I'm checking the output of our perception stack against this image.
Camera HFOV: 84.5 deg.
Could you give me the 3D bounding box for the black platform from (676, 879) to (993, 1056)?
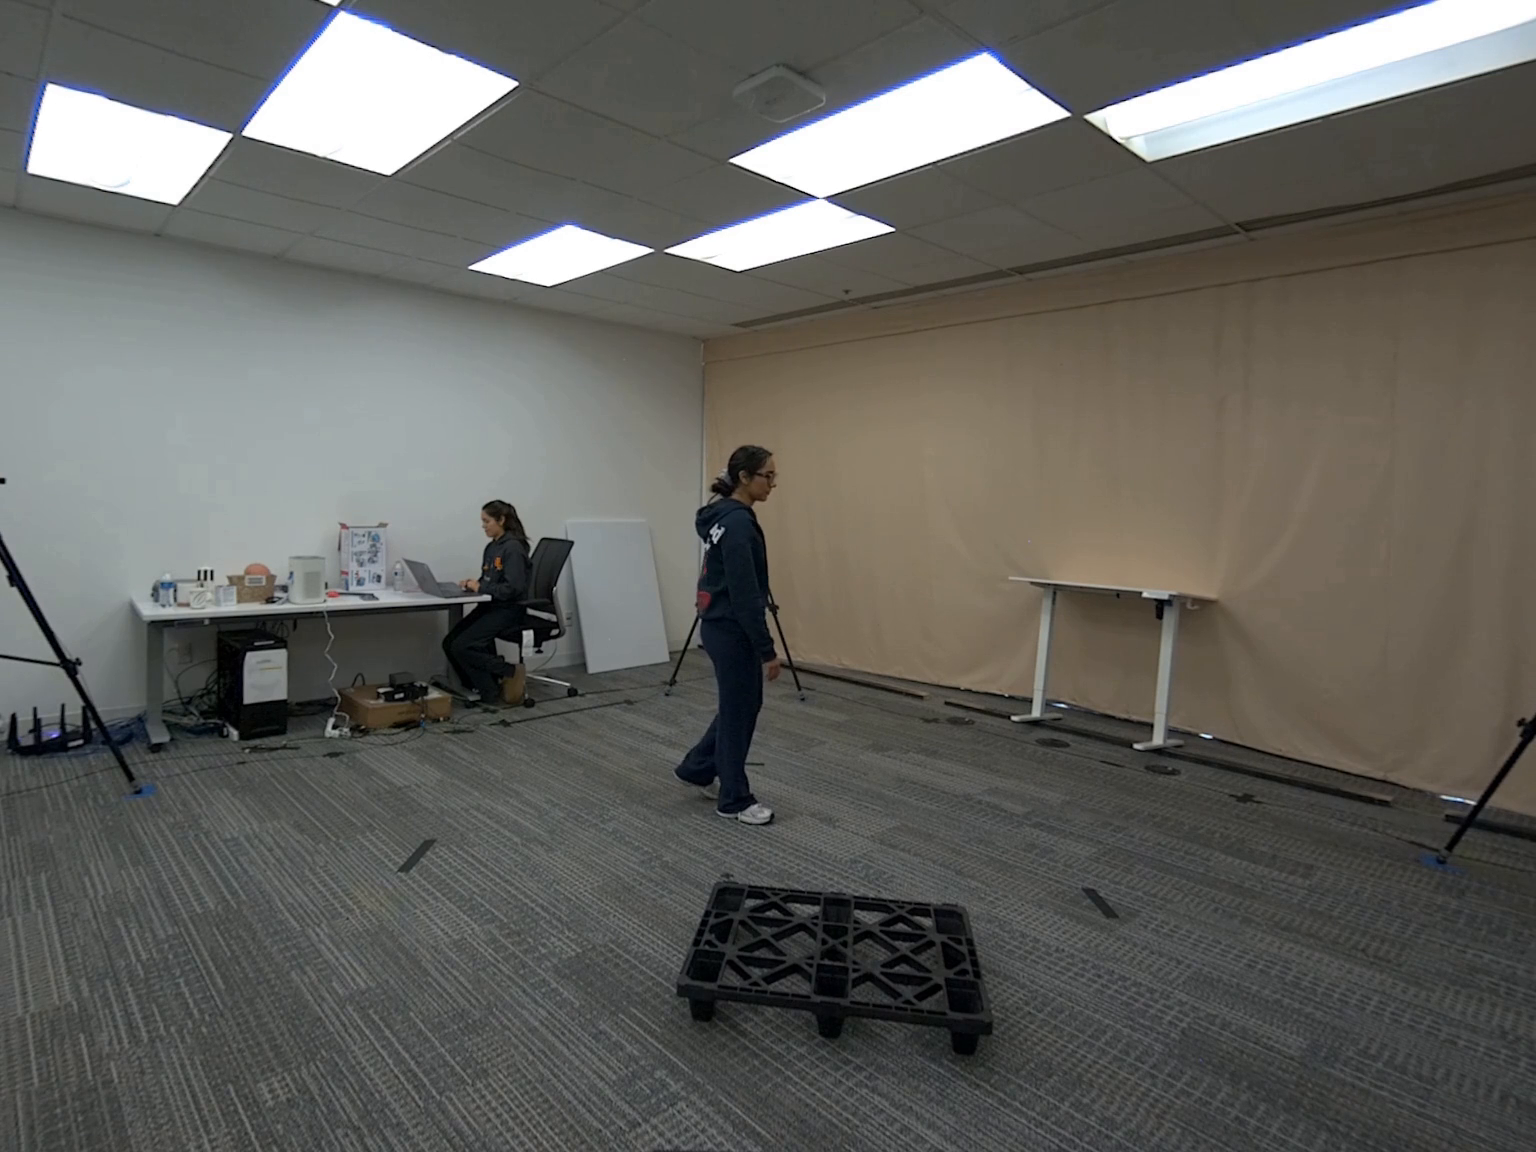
[{"bbox_3d":[0.190,1.111,2.409,0.811,0.143,0.603,2,6,8],"label":"black platform"}]
